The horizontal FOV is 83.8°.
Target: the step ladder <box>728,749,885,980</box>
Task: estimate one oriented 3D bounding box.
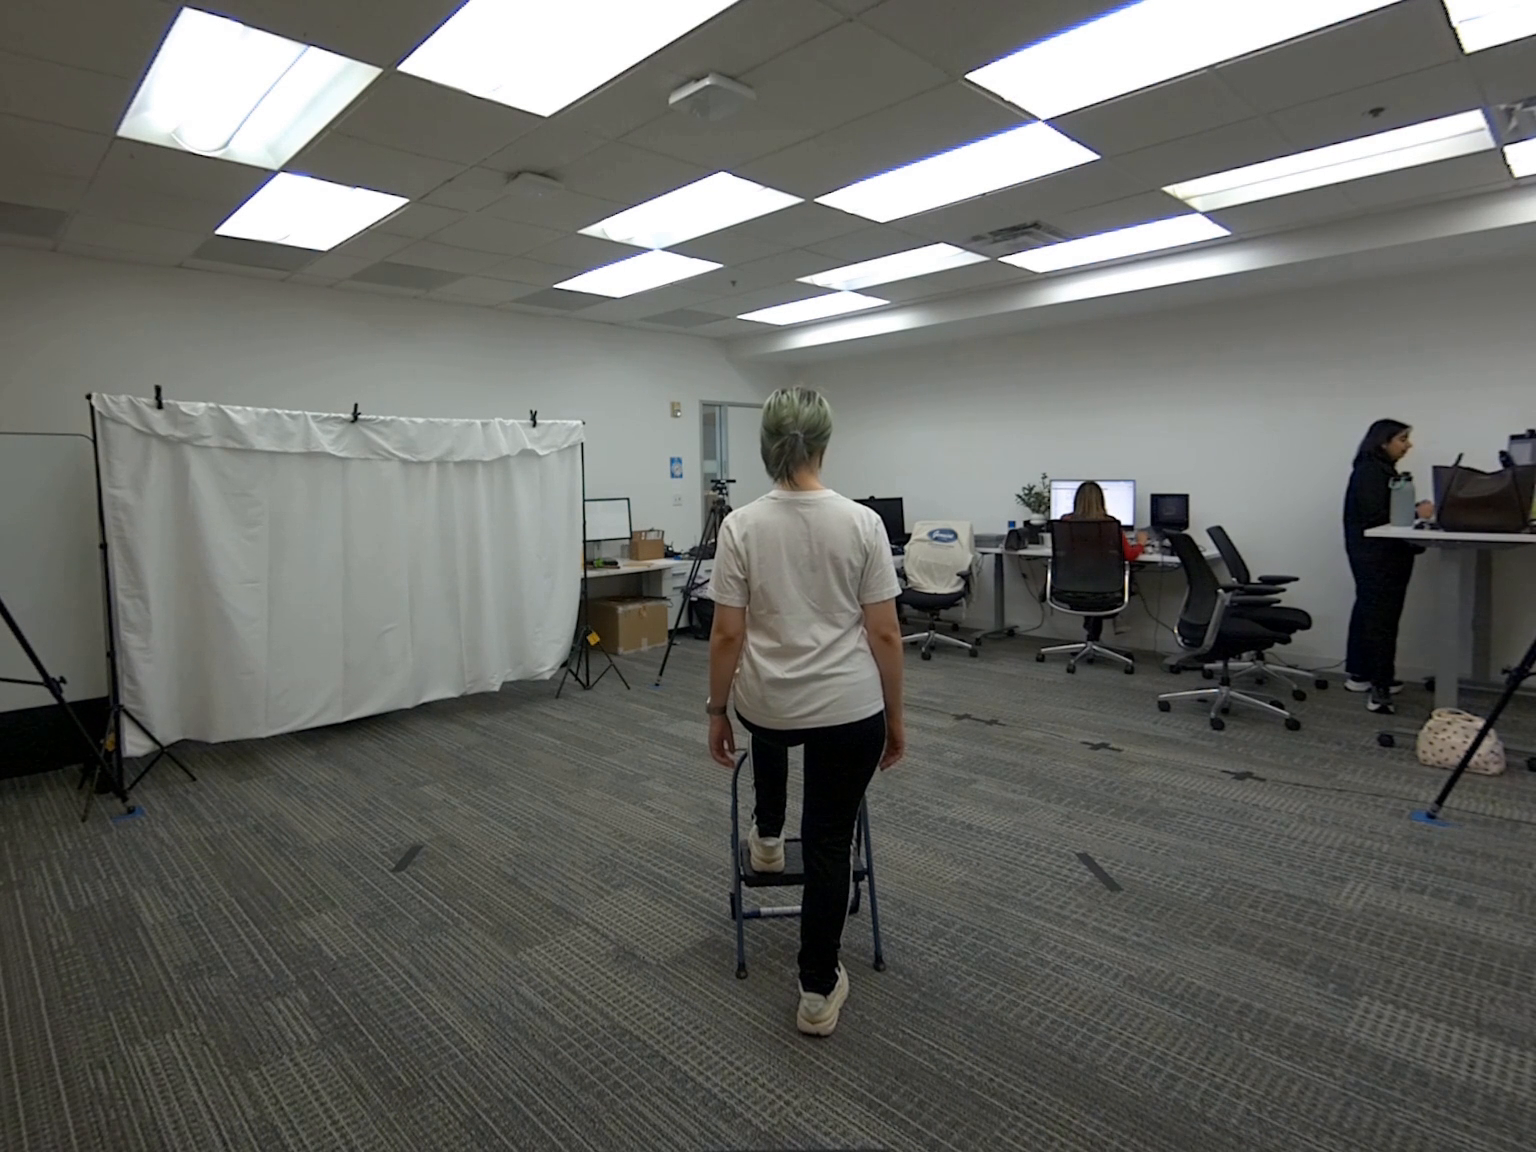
[{"bbox_3d":[0.106,0.811,2.566,0.428,0.604,0.352,-1,4,-6],"label":"step ladder"}]
